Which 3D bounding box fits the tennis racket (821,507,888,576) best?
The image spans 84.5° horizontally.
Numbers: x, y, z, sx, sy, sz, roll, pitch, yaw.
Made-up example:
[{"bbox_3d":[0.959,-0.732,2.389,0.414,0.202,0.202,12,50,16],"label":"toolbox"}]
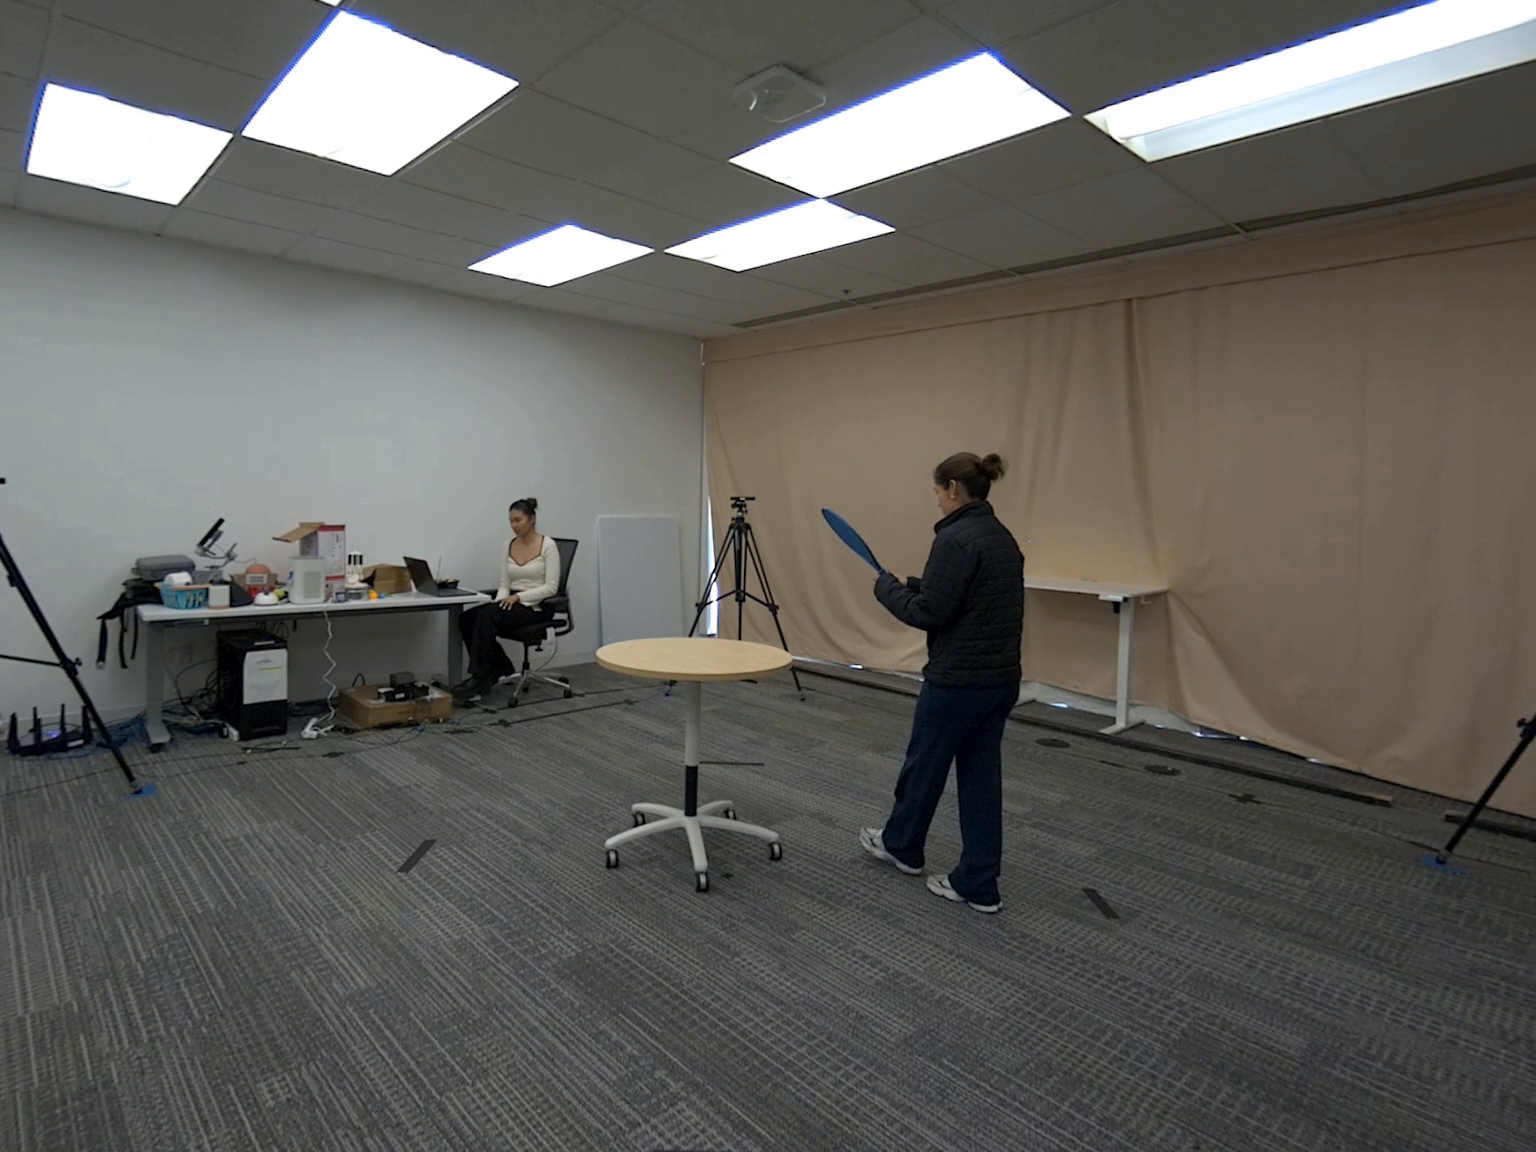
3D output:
[{"bbox_3d":[0.350,-0.089,3.078,0.032,0.437,0.212,-41,-7,-10],"label":"tennis racket"}]
